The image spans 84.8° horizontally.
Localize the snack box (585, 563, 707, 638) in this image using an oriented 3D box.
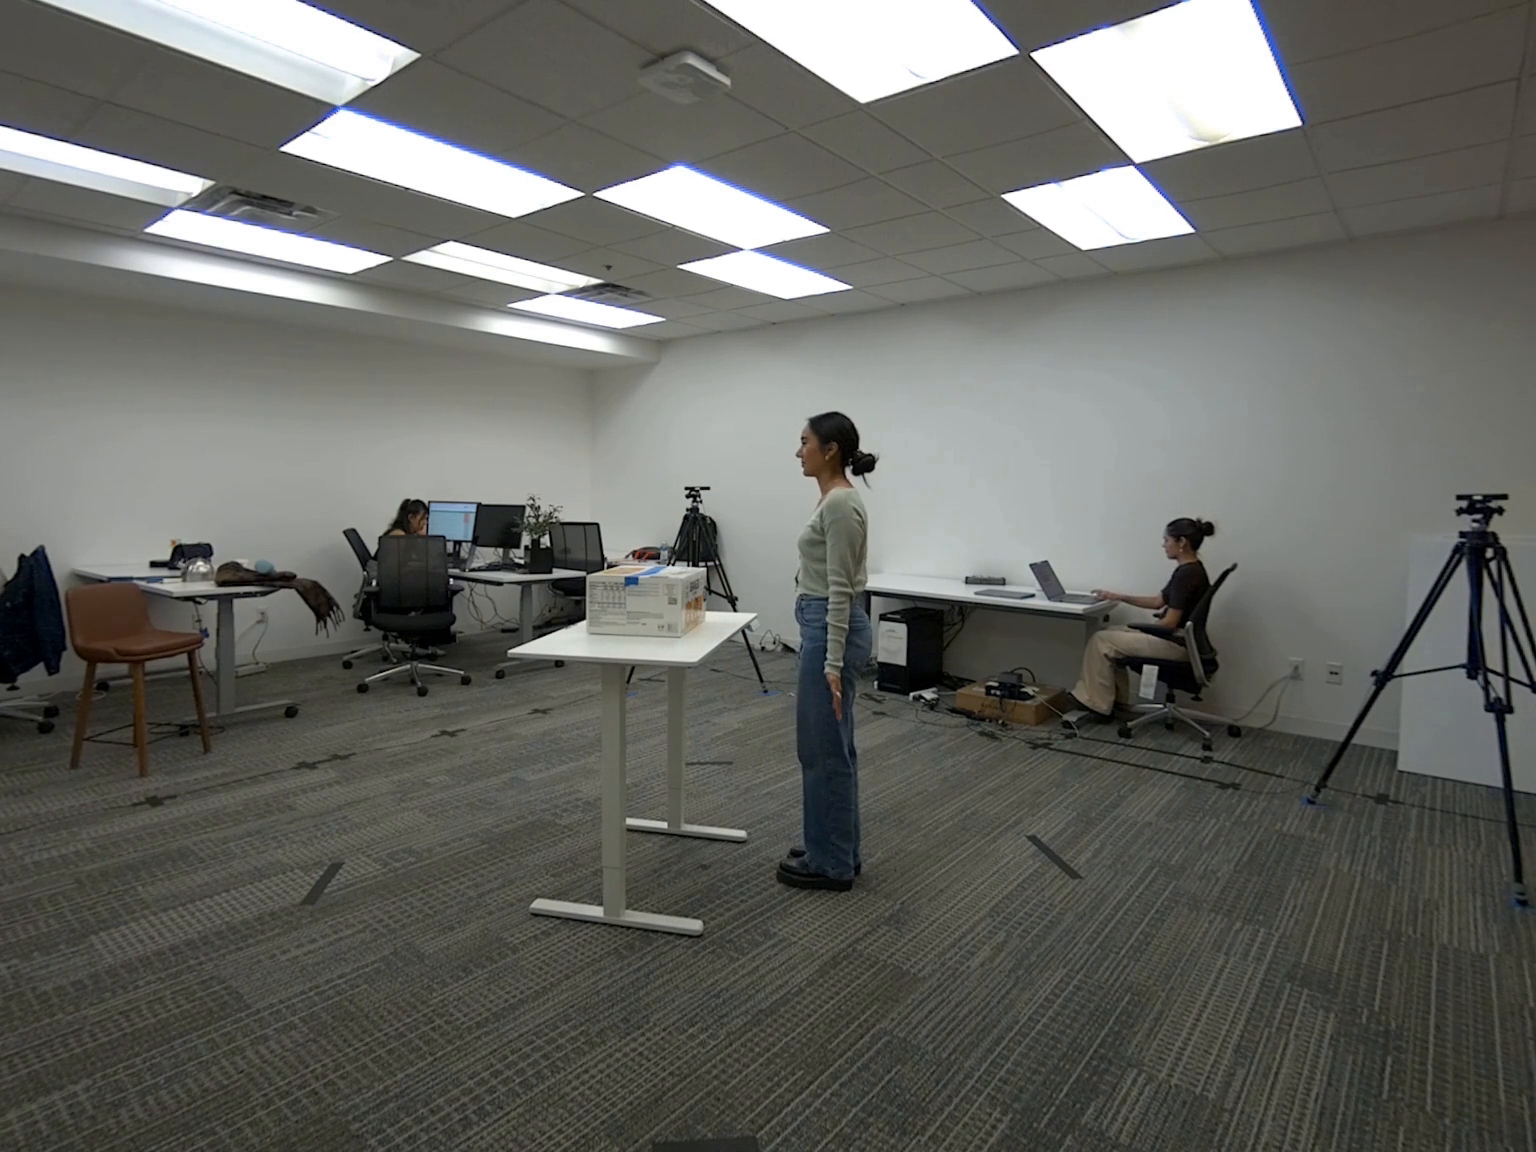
[{"bbox_3d":[-0.441,0.081,3.086,0.344,0.205,0.402,1,6,10],"label":"snack box"}]
